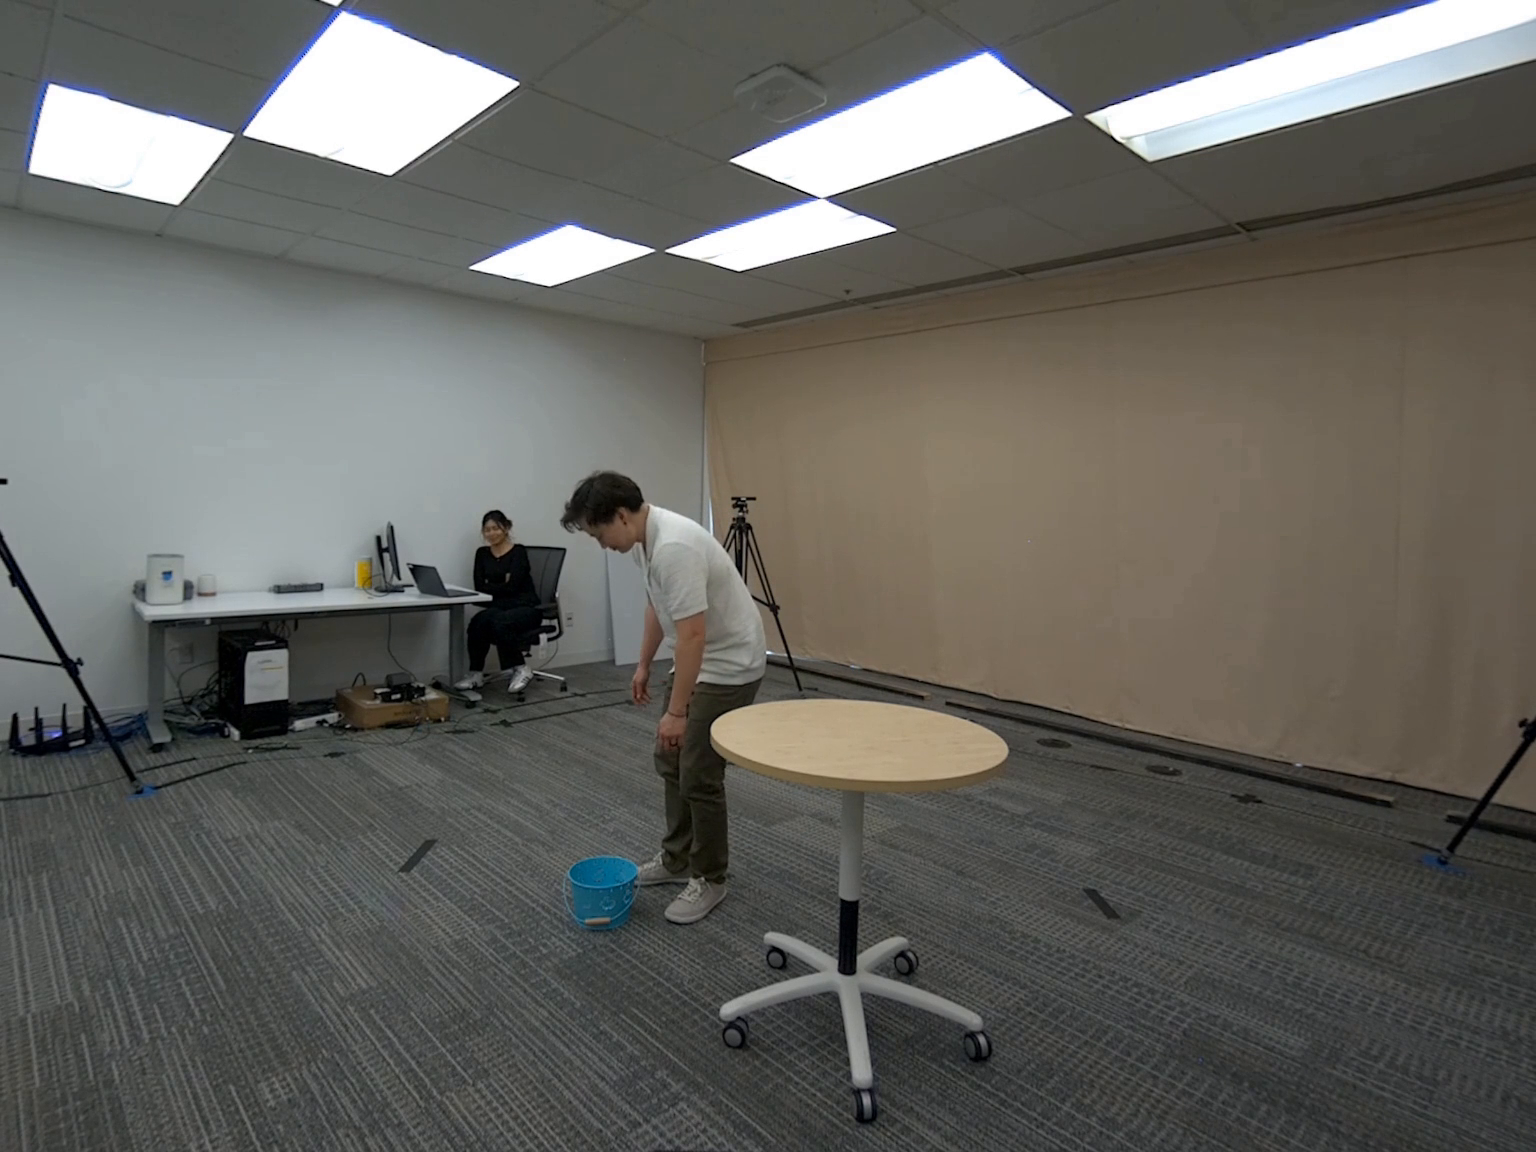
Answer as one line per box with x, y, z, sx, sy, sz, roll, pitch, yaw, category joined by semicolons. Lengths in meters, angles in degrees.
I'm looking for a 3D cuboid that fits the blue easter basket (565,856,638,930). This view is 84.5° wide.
-0.549;1.047;2.778;0.243;0.155;0.244;1;5;-1;blue easter basket
